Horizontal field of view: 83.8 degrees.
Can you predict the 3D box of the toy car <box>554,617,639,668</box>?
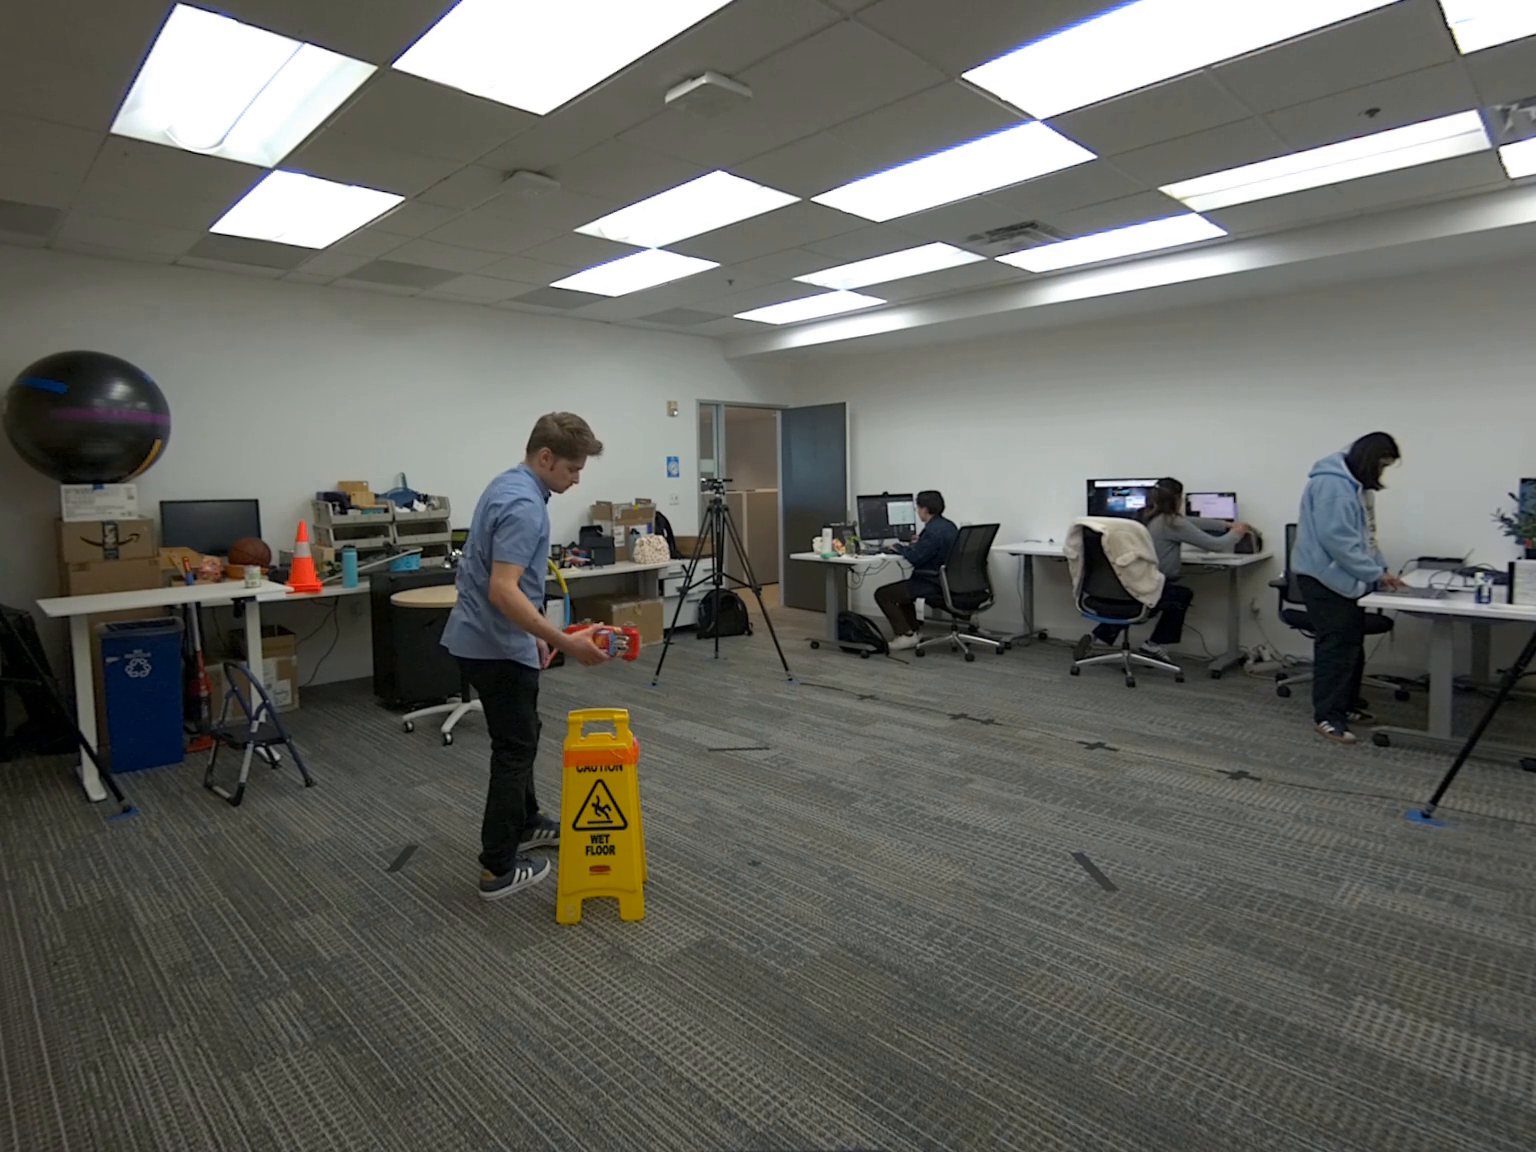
[{"bbox_3d":[-0.549,0.210,2.747,0.256,0.129,0.083,2,10,6],"label":"toy car"}]
